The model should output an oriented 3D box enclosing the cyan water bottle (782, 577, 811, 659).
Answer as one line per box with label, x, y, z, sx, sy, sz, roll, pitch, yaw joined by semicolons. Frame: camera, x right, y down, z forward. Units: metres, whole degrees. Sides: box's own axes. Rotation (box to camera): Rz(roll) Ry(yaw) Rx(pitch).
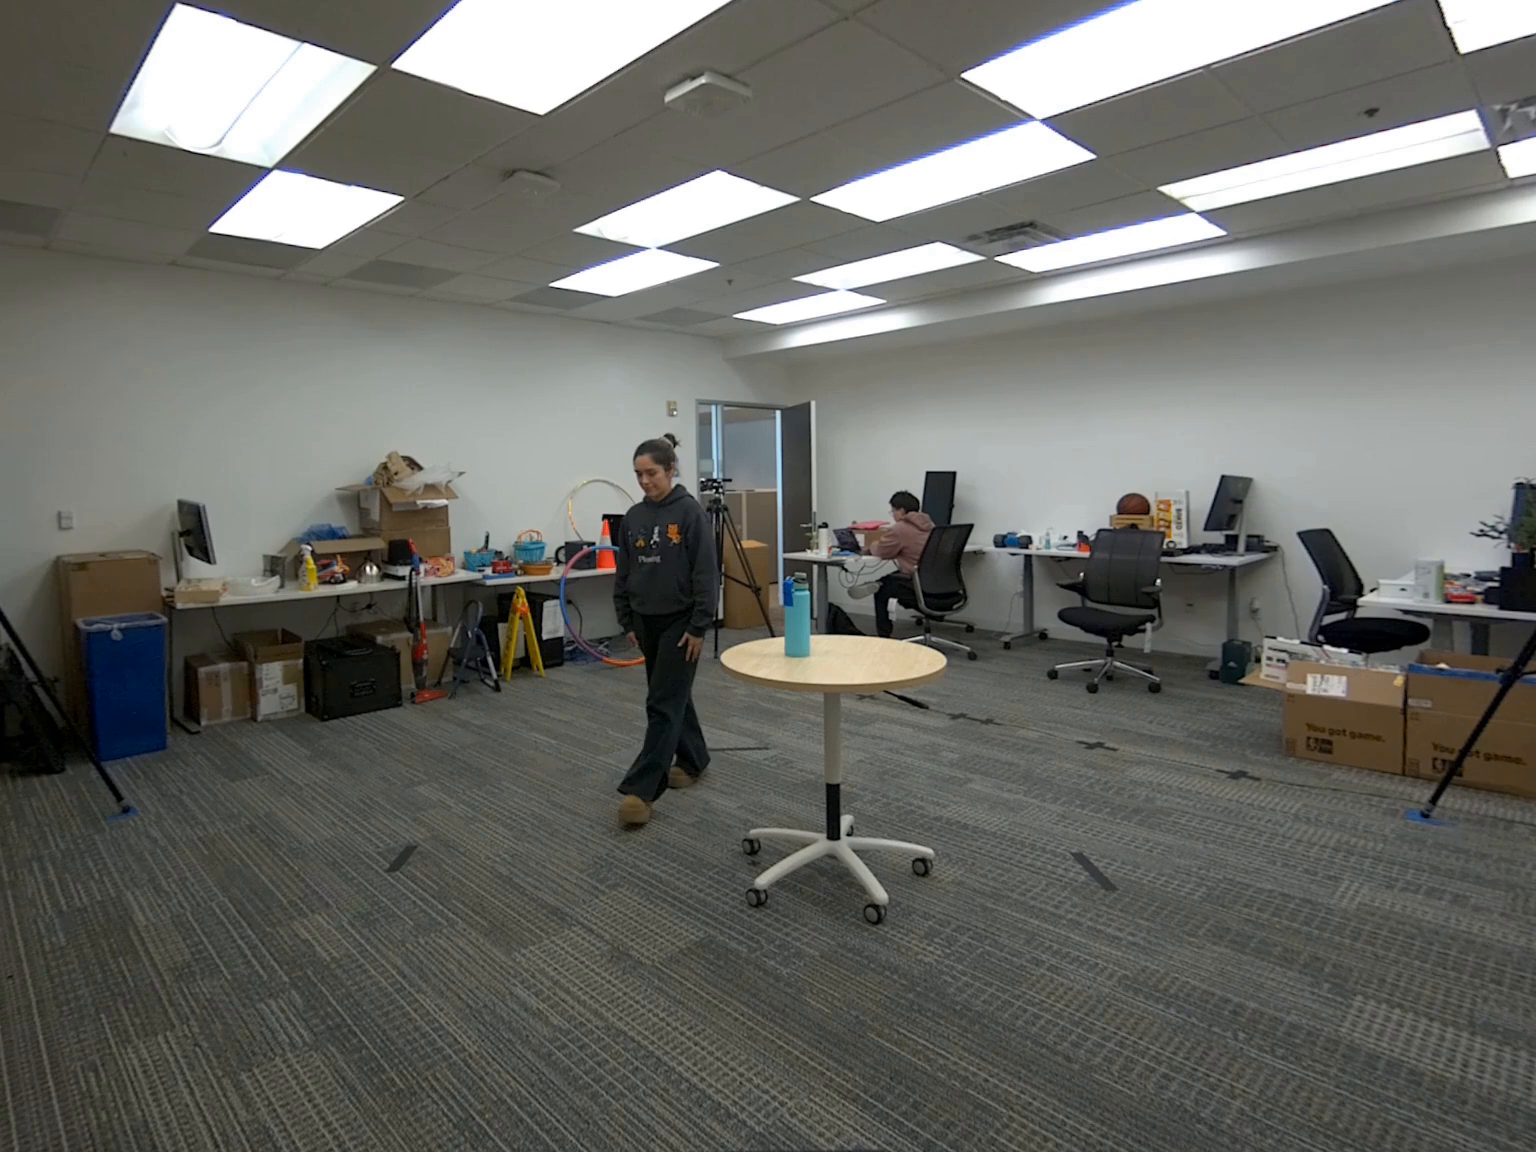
cyan water bottle;0.101;0.138;2.953;0.092;0.282;0.093;-3;3;-1
